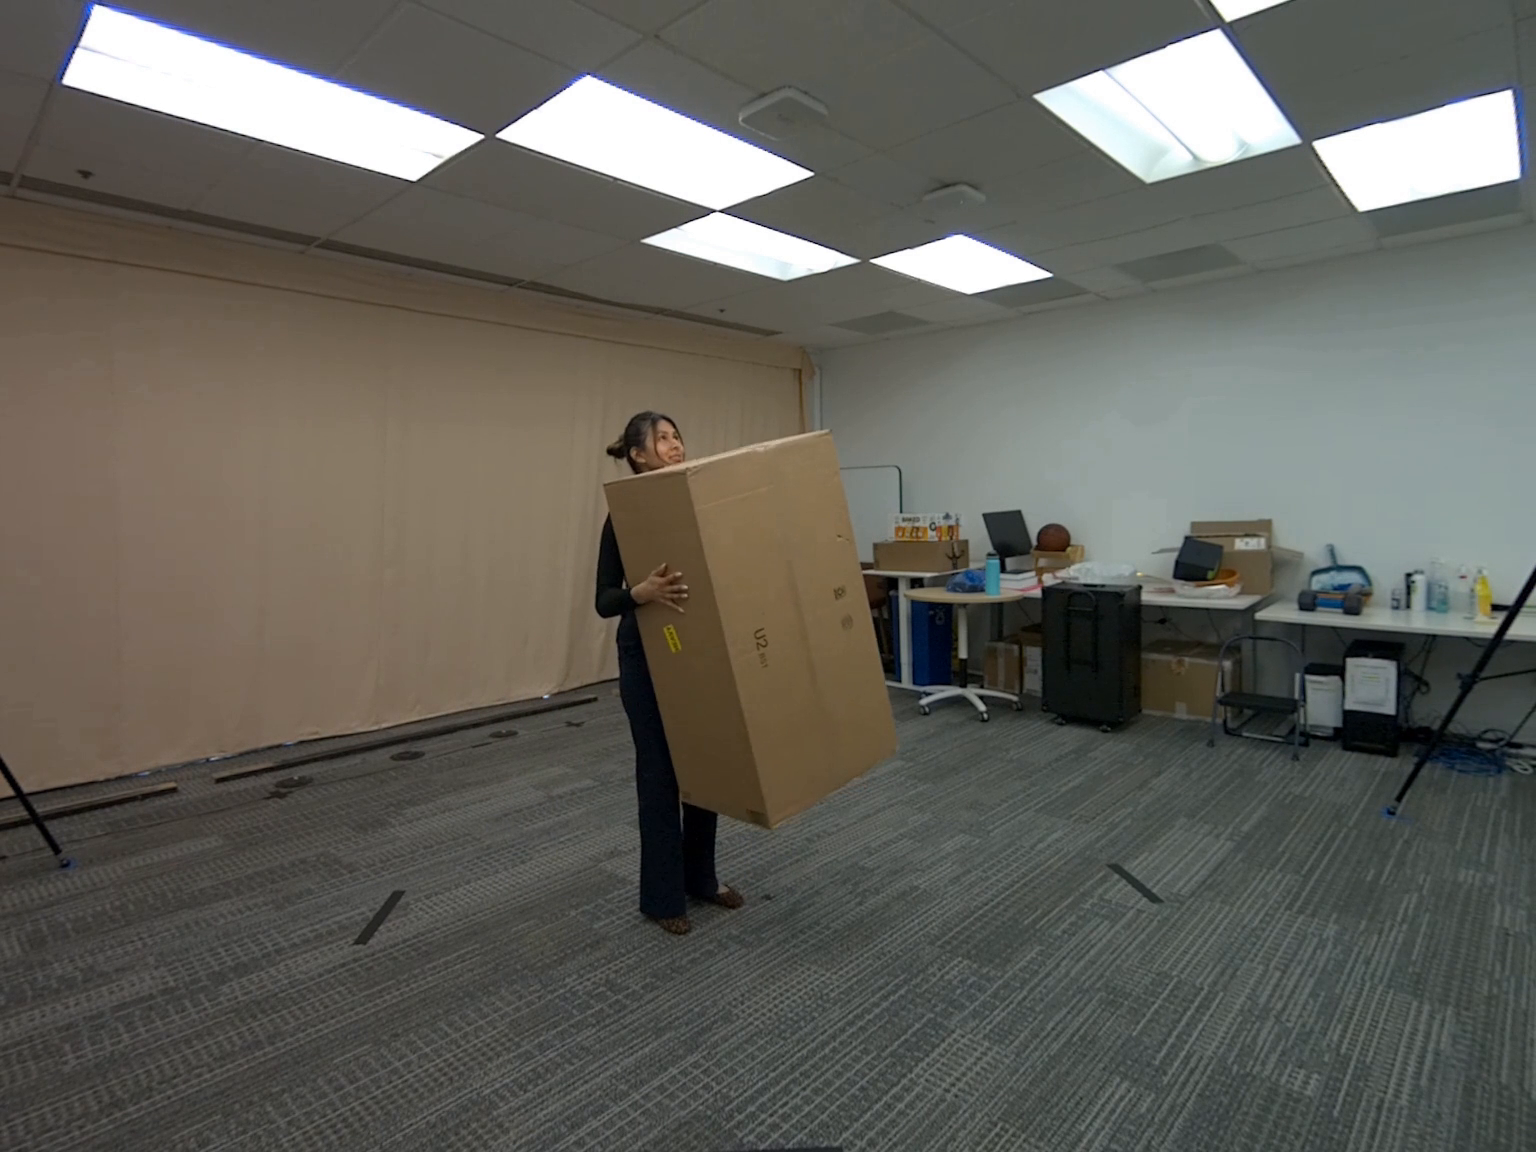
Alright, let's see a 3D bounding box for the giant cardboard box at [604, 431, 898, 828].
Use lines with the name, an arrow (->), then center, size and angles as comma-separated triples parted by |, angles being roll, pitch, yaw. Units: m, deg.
giant cardboard box -> -0.031, 0.135, 2.575 | 0.564, 1.018, 0.439 | -20, 11, -38
